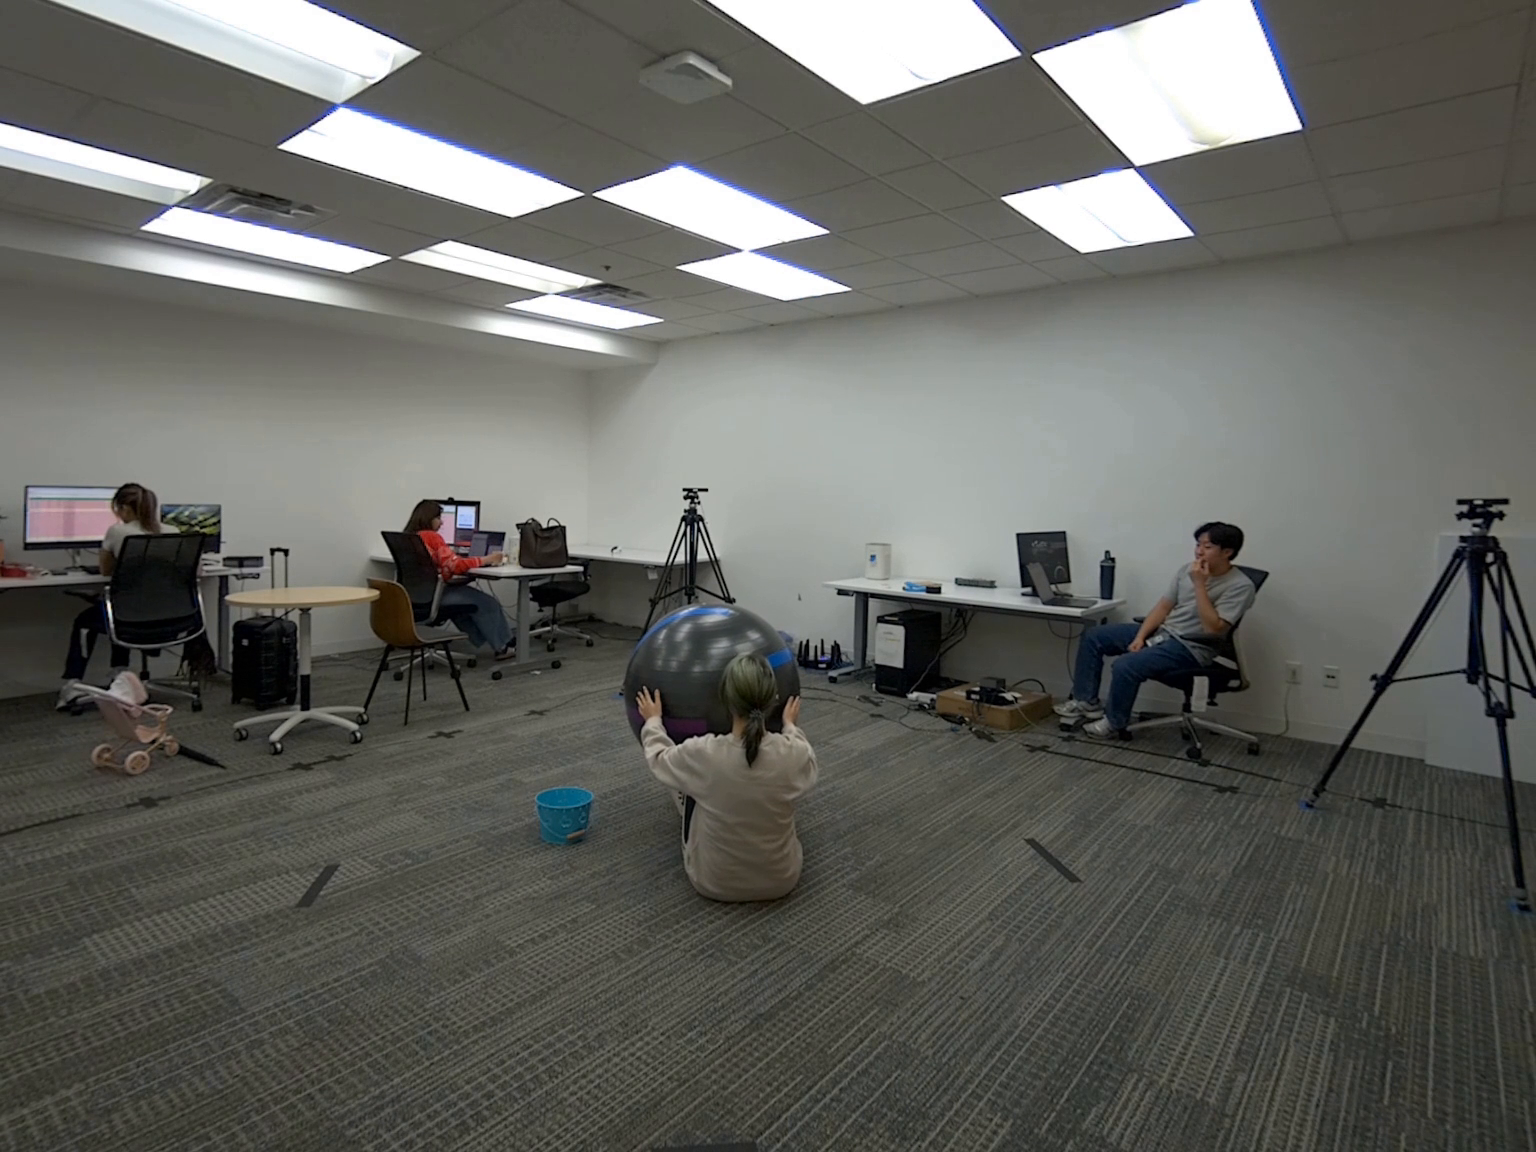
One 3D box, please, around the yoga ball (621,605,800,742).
[{"bbox_3d":[-0.256,0.491,3.679,0.757,0.756,0.761,1,4,-2],"label":"yoga ball"}]
